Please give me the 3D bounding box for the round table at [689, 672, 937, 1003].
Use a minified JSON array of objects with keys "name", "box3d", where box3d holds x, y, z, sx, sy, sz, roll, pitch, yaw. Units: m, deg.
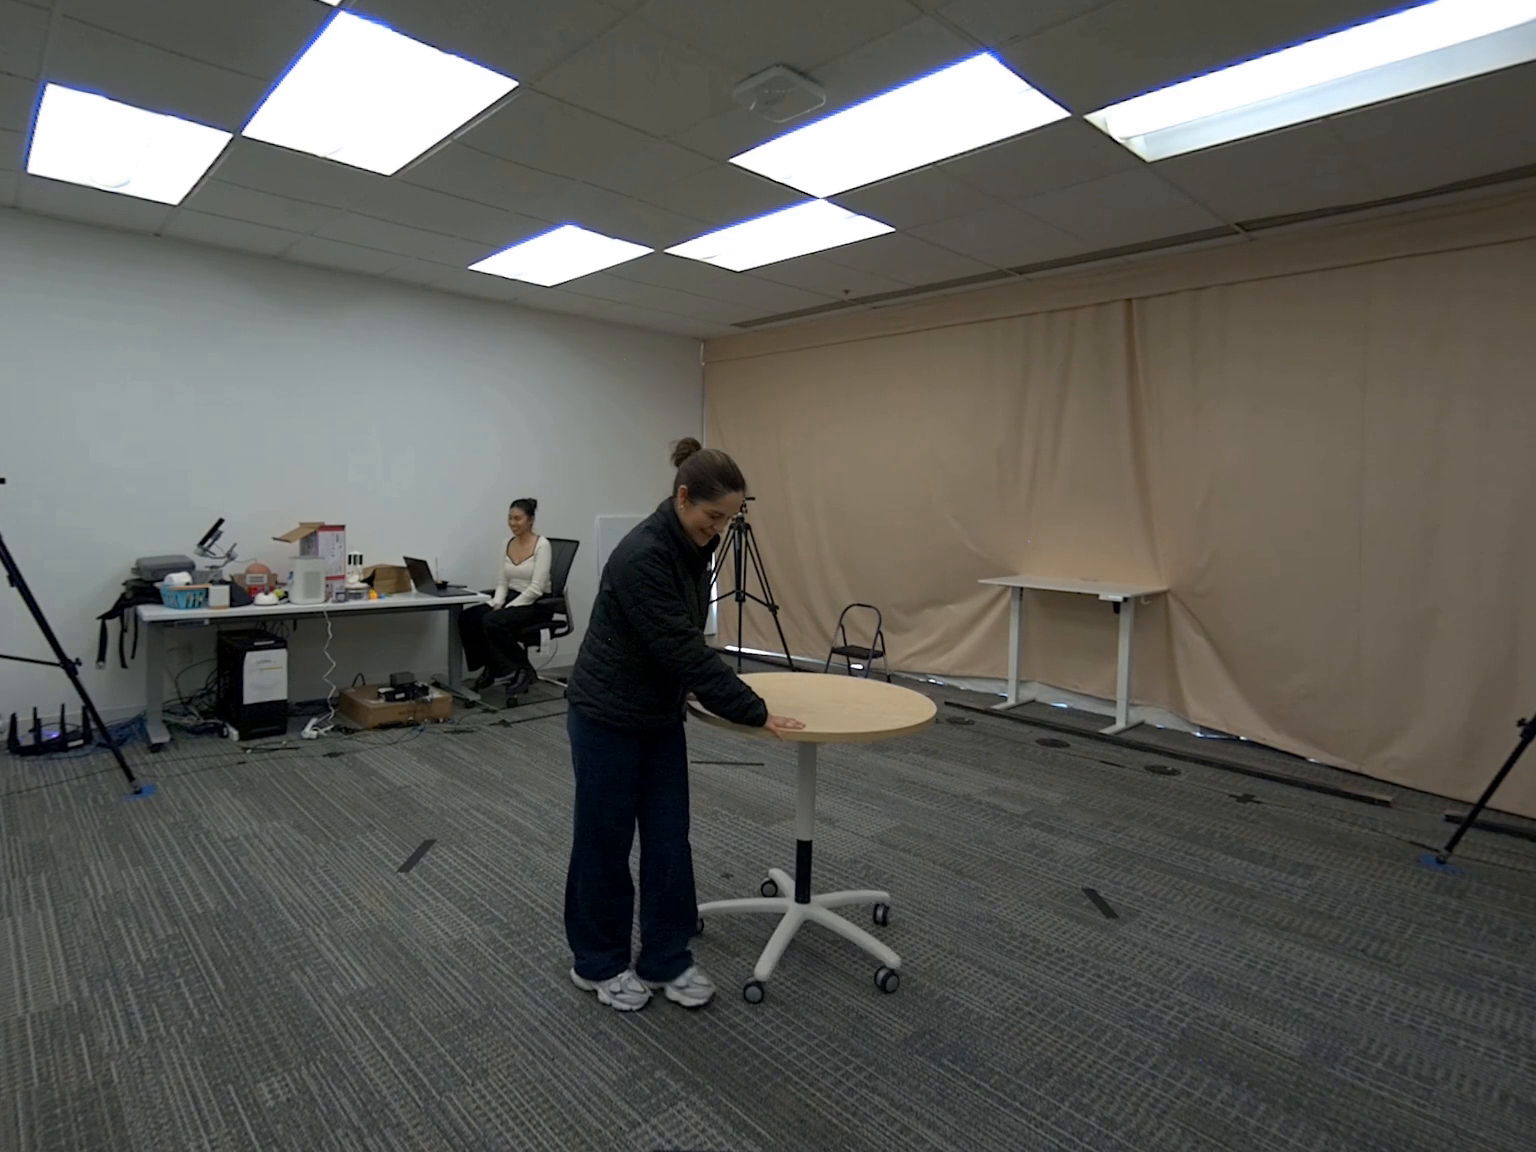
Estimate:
[{"name":"round table","box3d":[0.104,0.769,2.597,0.784,0.784,0.788,1,4,-1]}]
